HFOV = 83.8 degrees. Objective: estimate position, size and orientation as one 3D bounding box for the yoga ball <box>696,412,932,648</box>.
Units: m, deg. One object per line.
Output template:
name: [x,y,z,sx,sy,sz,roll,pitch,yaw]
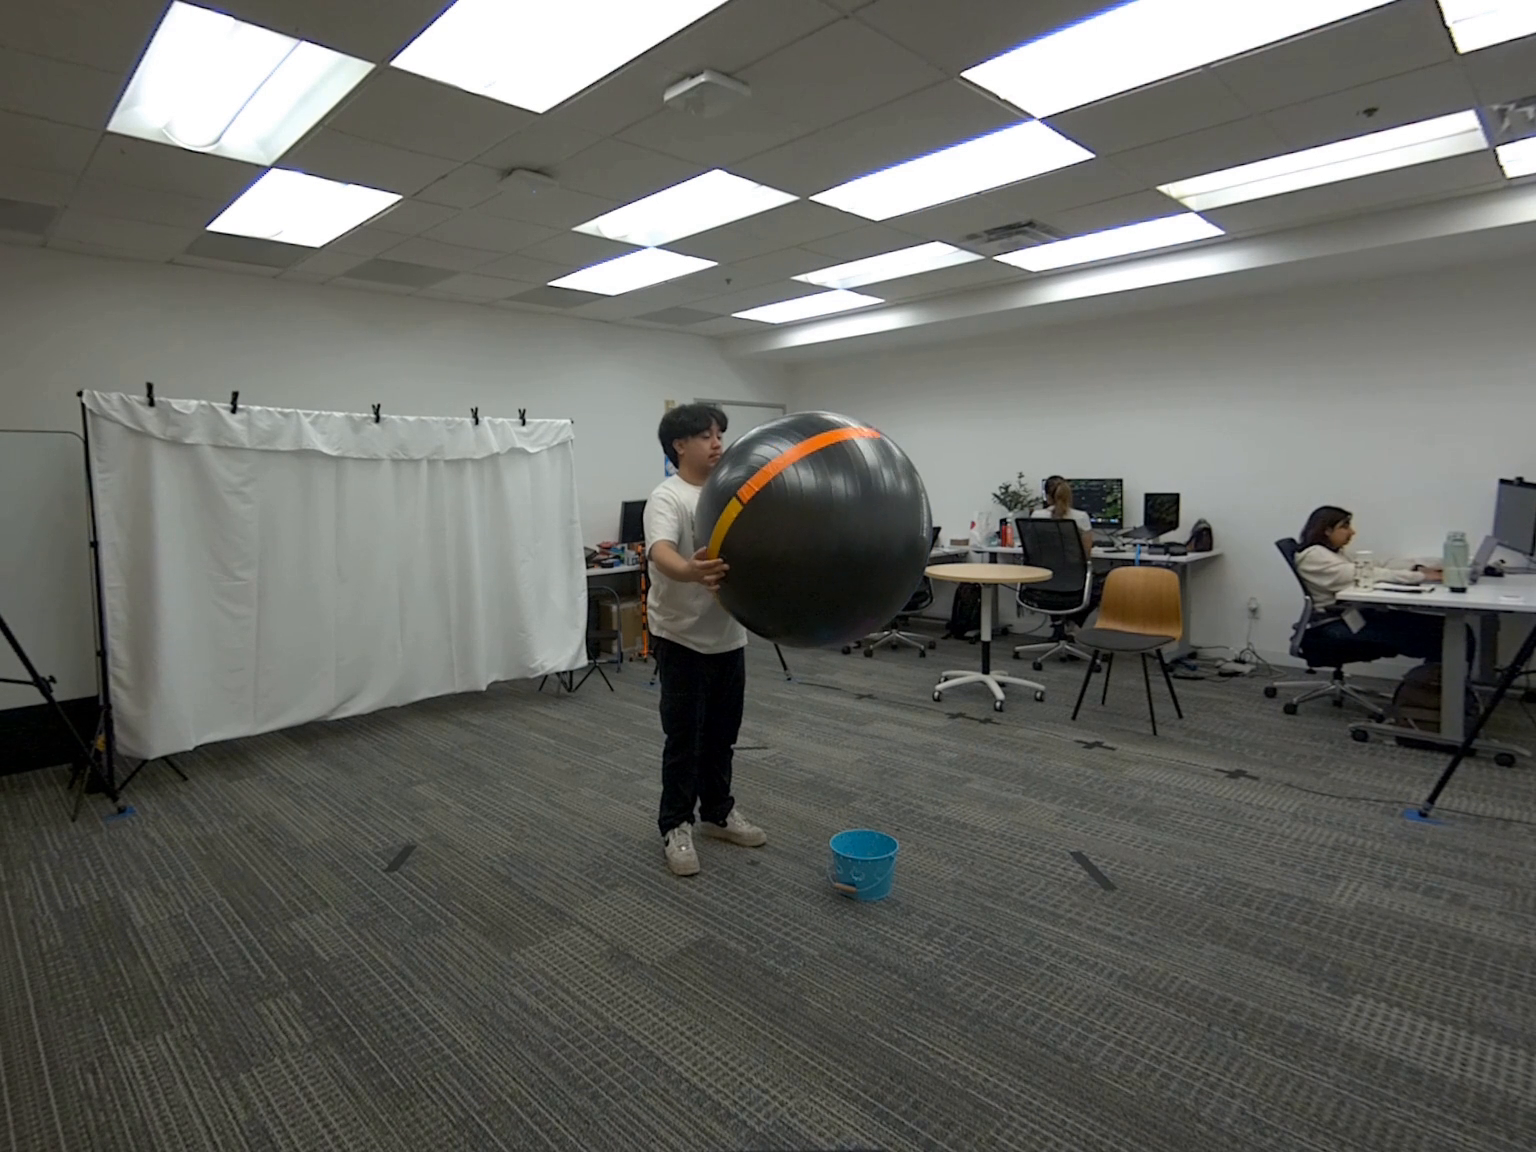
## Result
yoga ball: [0.142,-0.137,2.752,0.757,0.755,0.762,-1,5,-2]
